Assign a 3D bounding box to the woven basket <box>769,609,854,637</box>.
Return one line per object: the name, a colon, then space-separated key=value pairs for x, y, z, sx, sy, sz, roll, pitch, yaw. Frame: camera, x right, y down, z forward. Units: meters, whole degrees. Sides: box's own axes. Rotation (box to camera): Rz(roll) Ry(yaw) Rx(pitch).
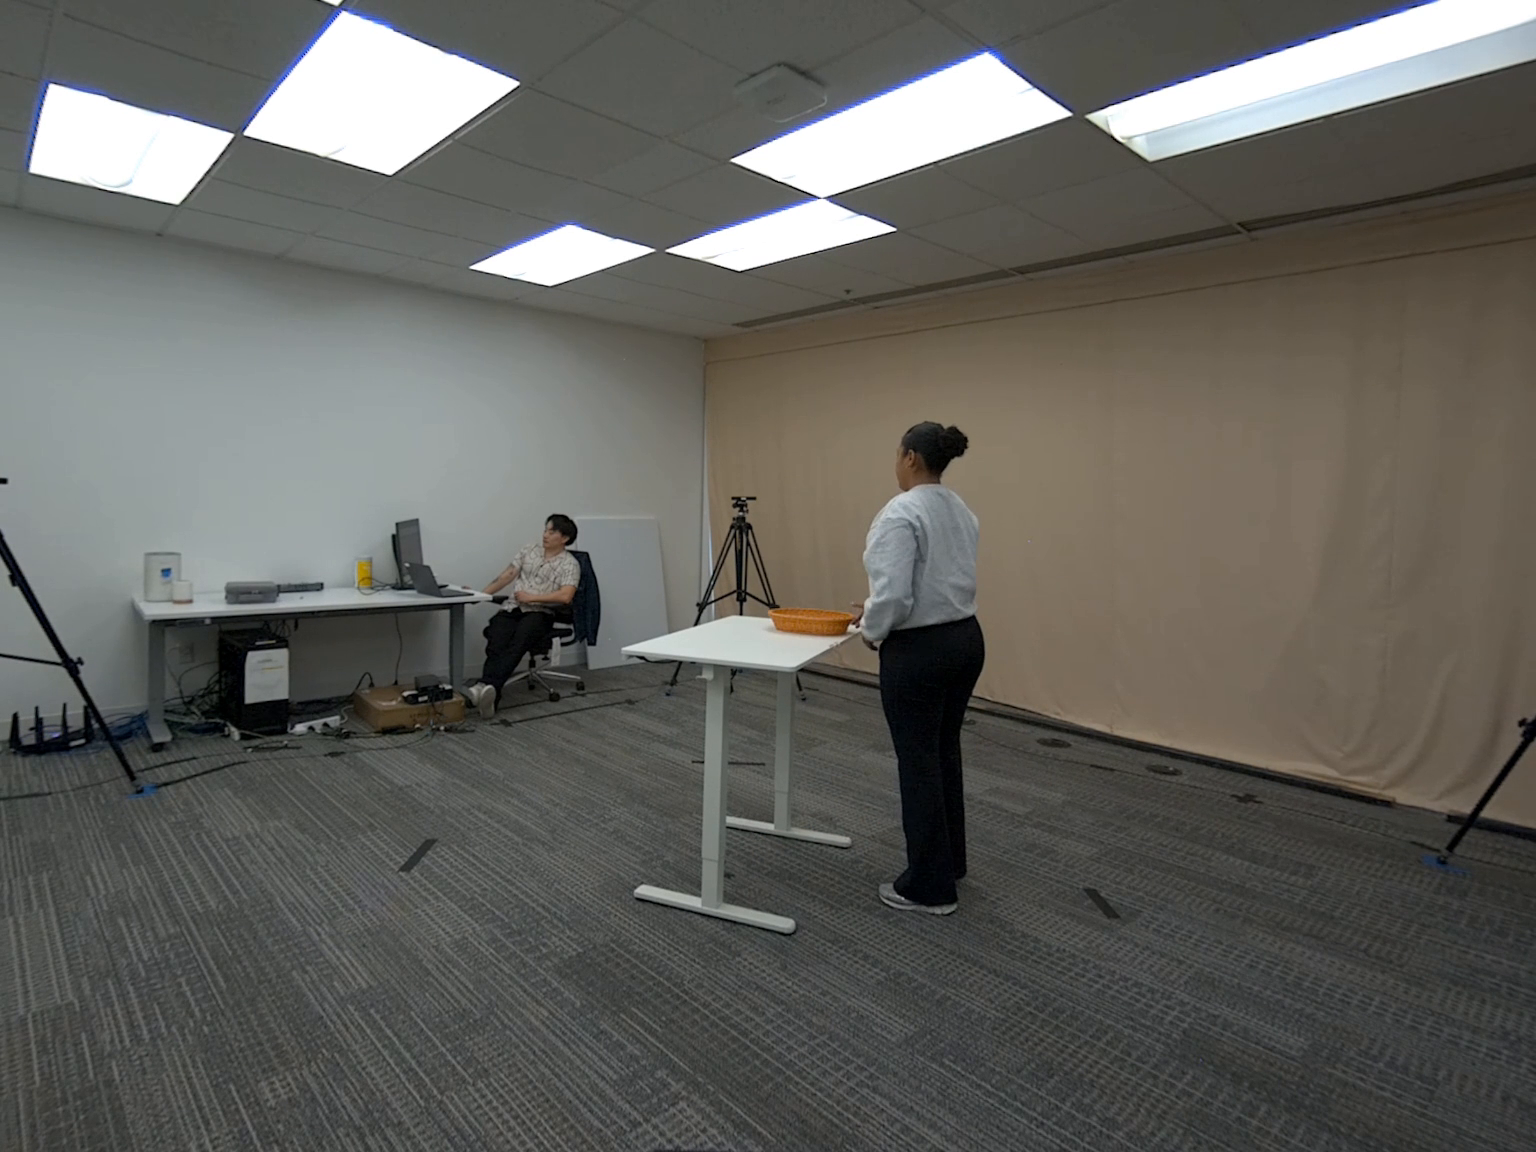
woven basket: x=0.161 y=0.185 z=3.292 sx=0.358 sy=0.073 sz=0.247 roll=6 pitch=6 yaw=32
